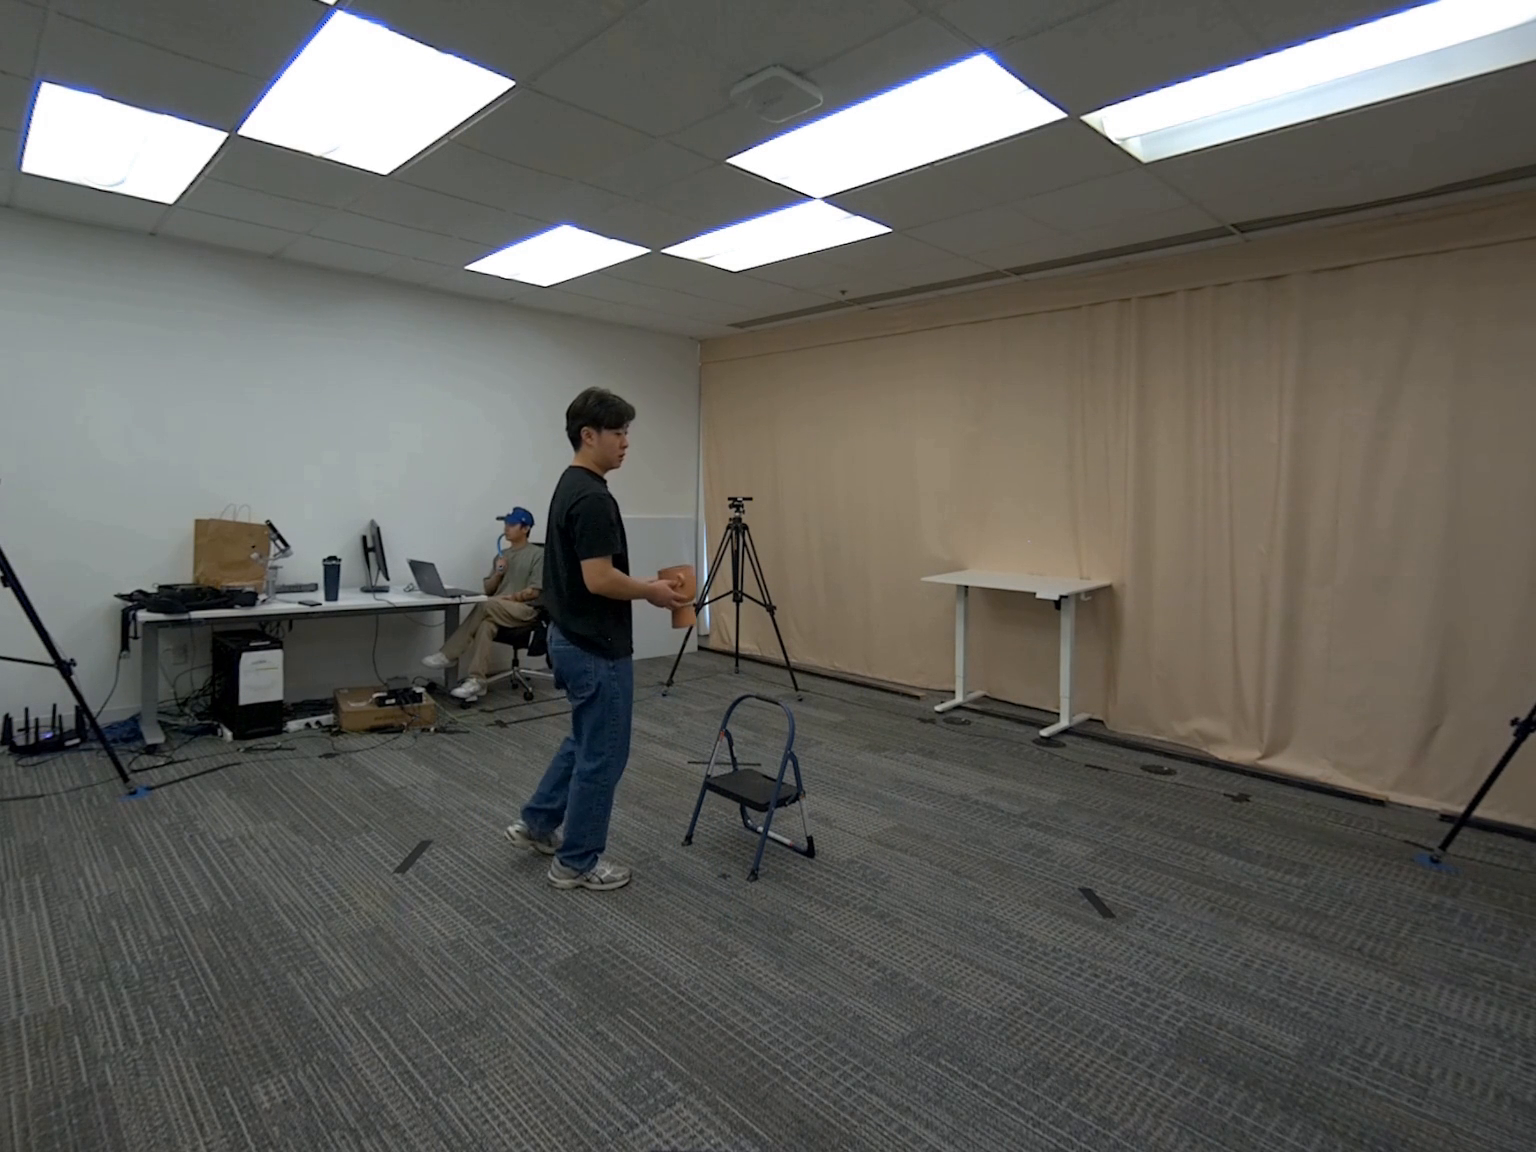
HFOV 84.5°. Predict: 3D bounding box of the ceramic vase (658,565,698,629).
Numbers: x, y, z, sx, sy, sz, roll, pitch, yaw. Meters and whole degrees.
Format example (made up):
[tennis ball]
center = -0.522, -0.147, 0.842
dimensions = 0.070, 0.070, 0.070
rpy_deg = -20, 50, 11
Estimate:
[ceramic vase]
center = -0.343, 0.076, 3.083
dimensions = 0.136, 0.220, 0.157
rpy_deg = -10, 1, 21
